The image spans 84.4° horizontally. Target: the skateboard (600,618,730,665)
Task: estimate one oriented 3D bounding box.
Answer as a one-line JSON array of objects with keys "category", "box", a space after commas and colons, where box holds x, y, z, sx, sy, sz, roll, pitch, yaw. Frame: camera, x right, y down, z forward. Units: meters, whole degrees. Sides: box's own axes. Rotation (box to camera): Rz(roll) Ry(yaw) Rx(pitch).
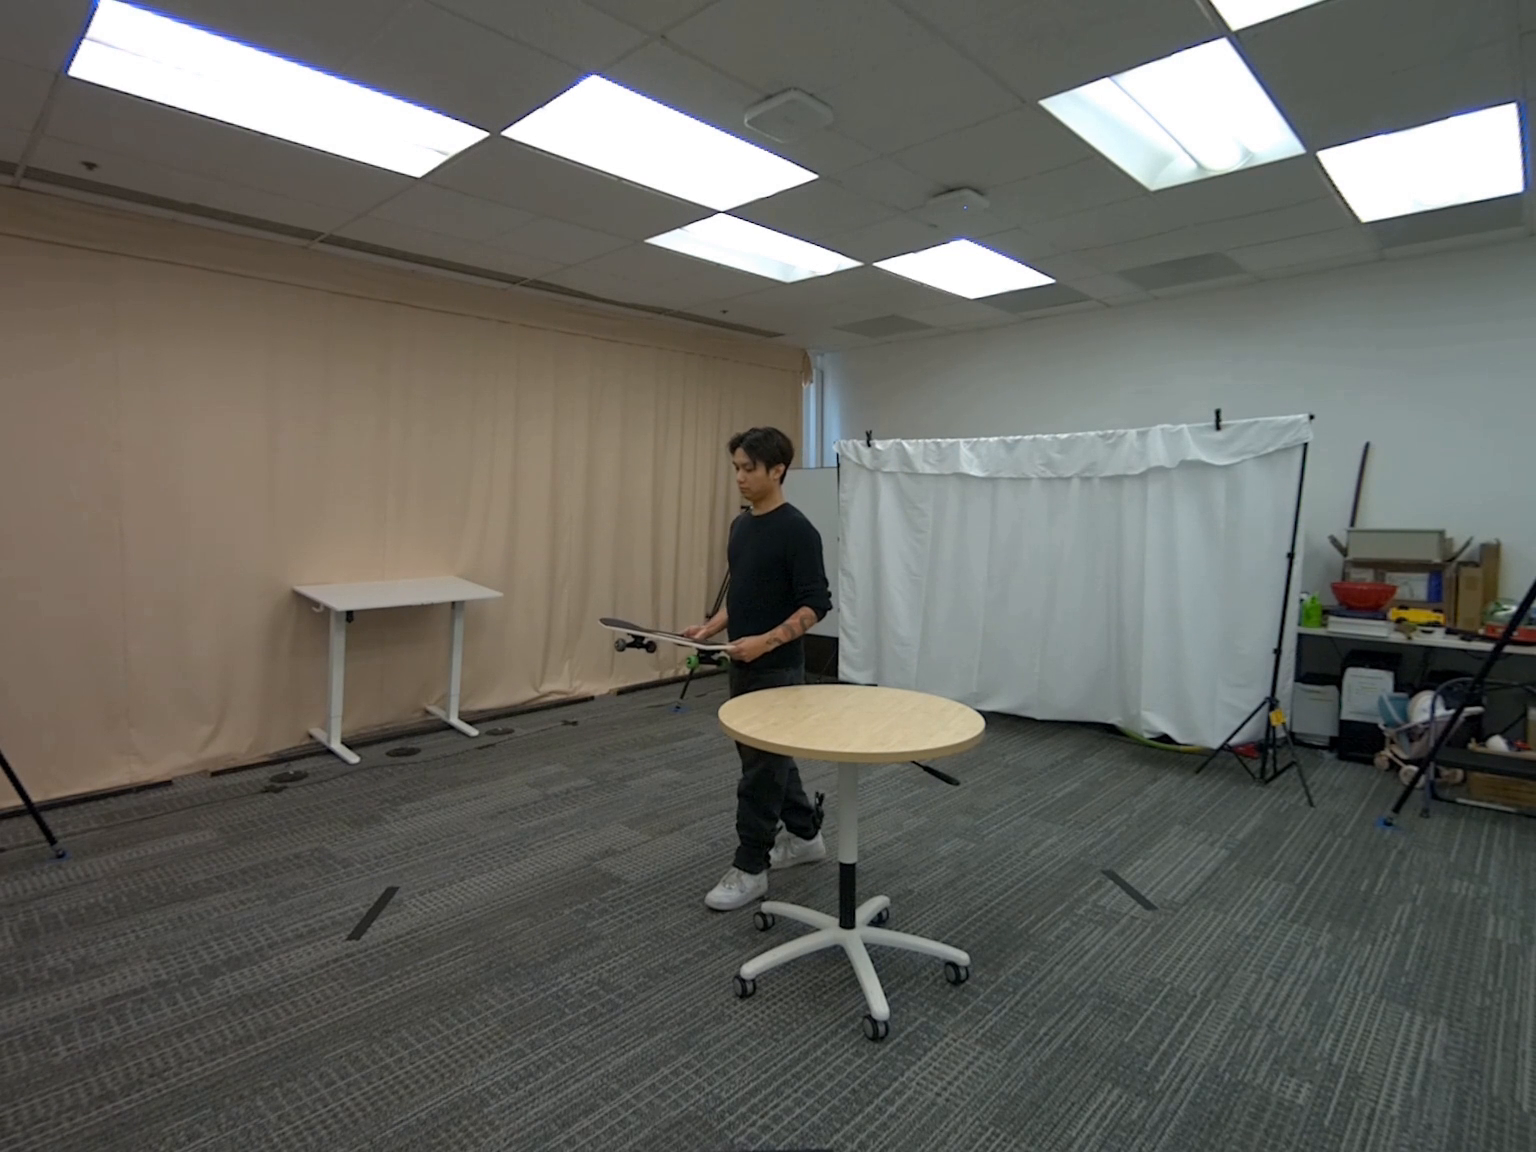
[{"category": "skateboard", "box": [-0.344, 0.262, 3.113, 0.812, 0.110, 0.187, 5, -4, 42]}]
